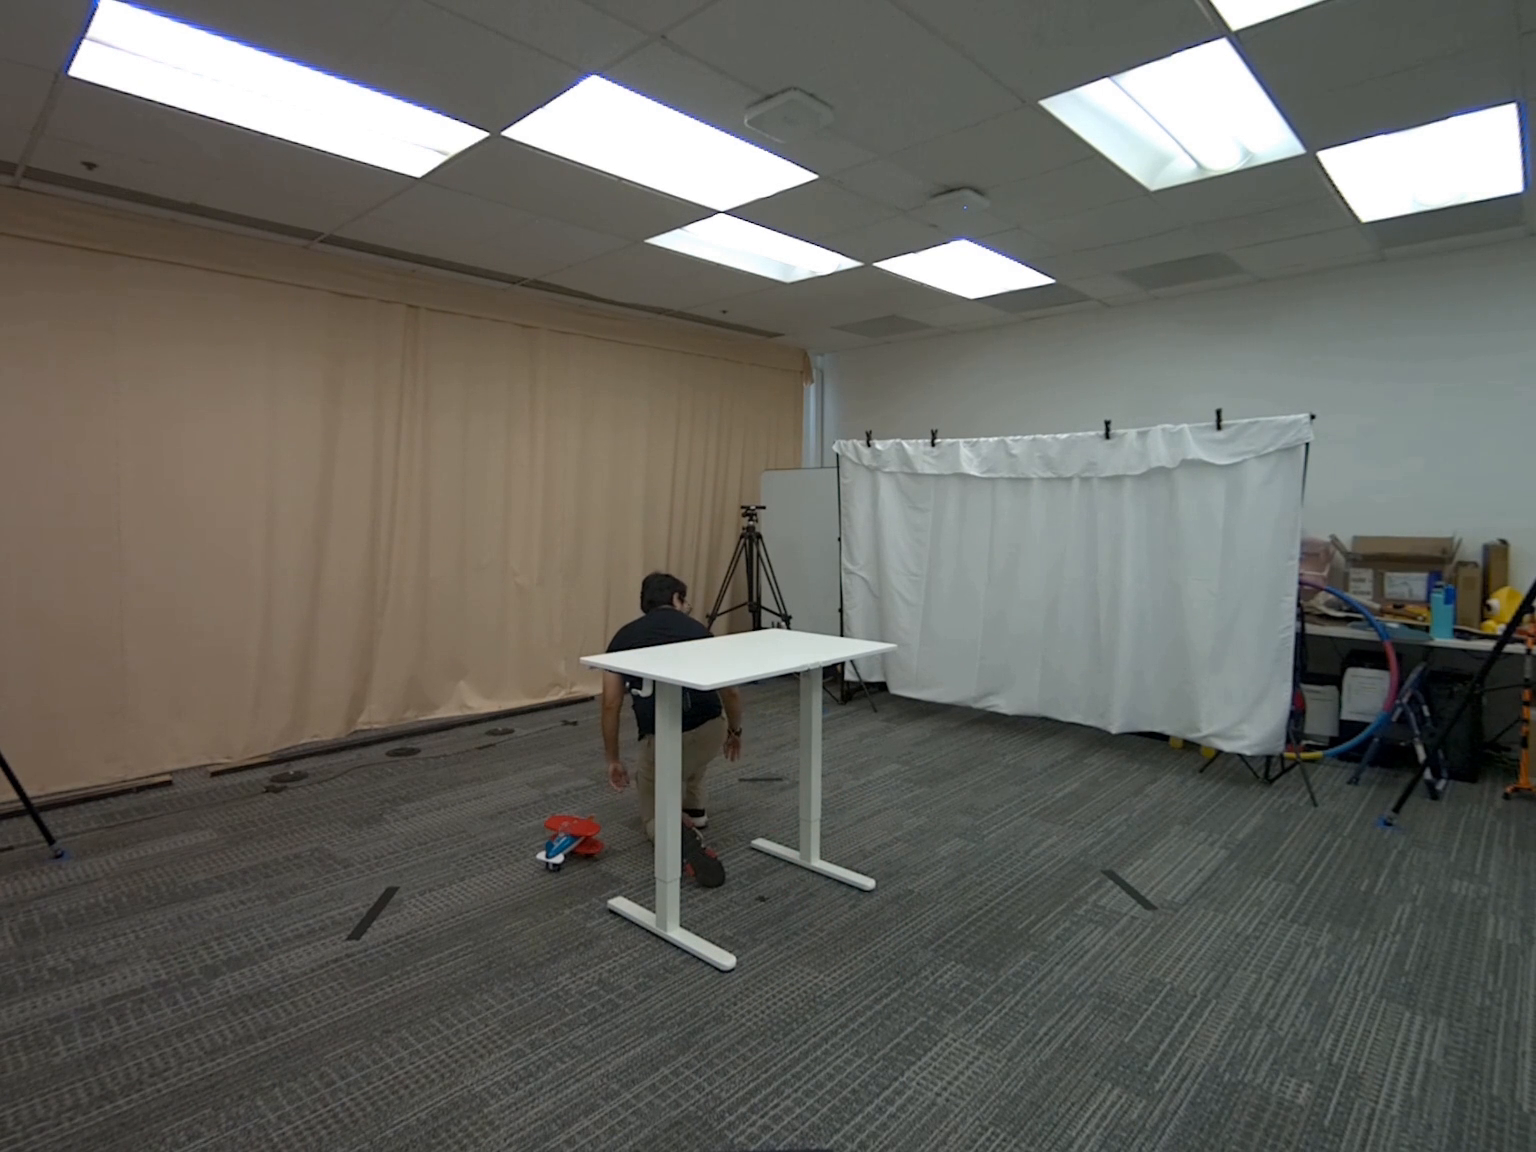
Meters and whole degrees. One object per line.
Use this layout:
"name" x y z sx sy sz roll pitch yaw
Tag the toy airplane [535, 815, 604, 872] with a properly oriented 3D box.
"toy airplane" -0.773 1.054 3.301 0.251 0.156 0.260 -1 3 -1
